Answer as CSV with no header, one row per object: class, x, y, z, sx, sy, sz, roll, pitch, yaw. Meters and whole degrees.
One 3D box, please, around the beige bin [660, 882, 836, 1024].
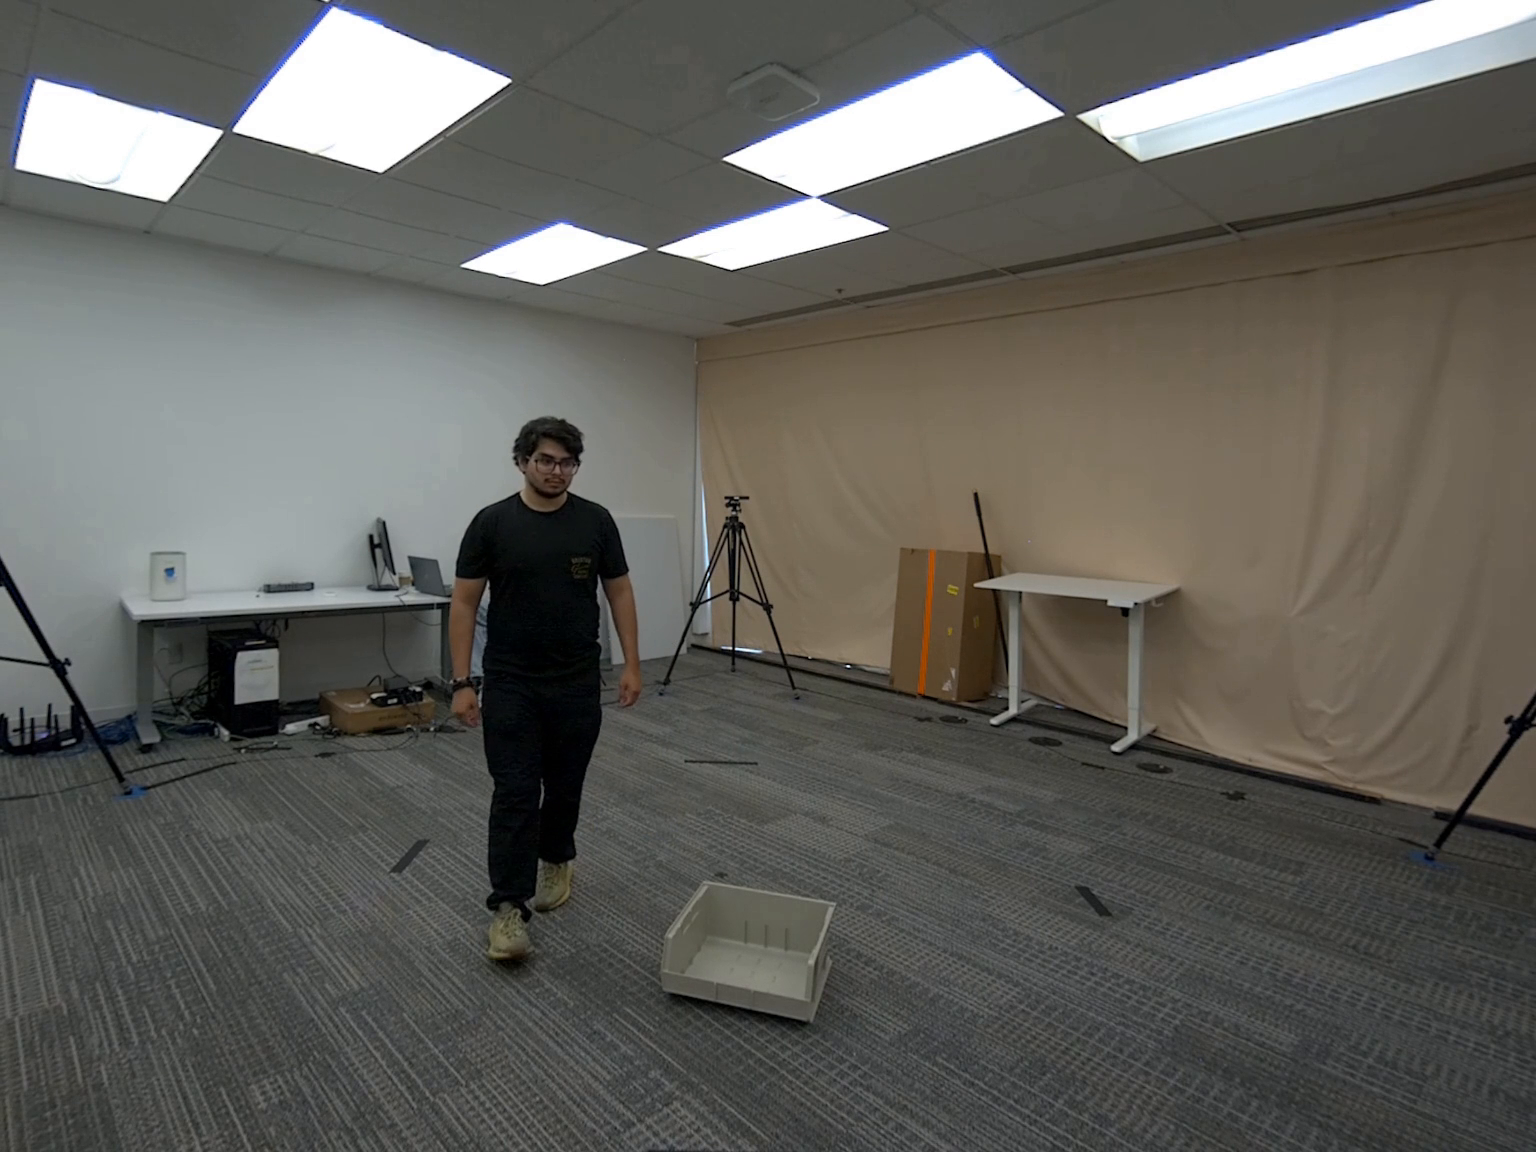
beige bin,-0.049,1.084,2.413,0.428,0.188,0.373,2,4,15
